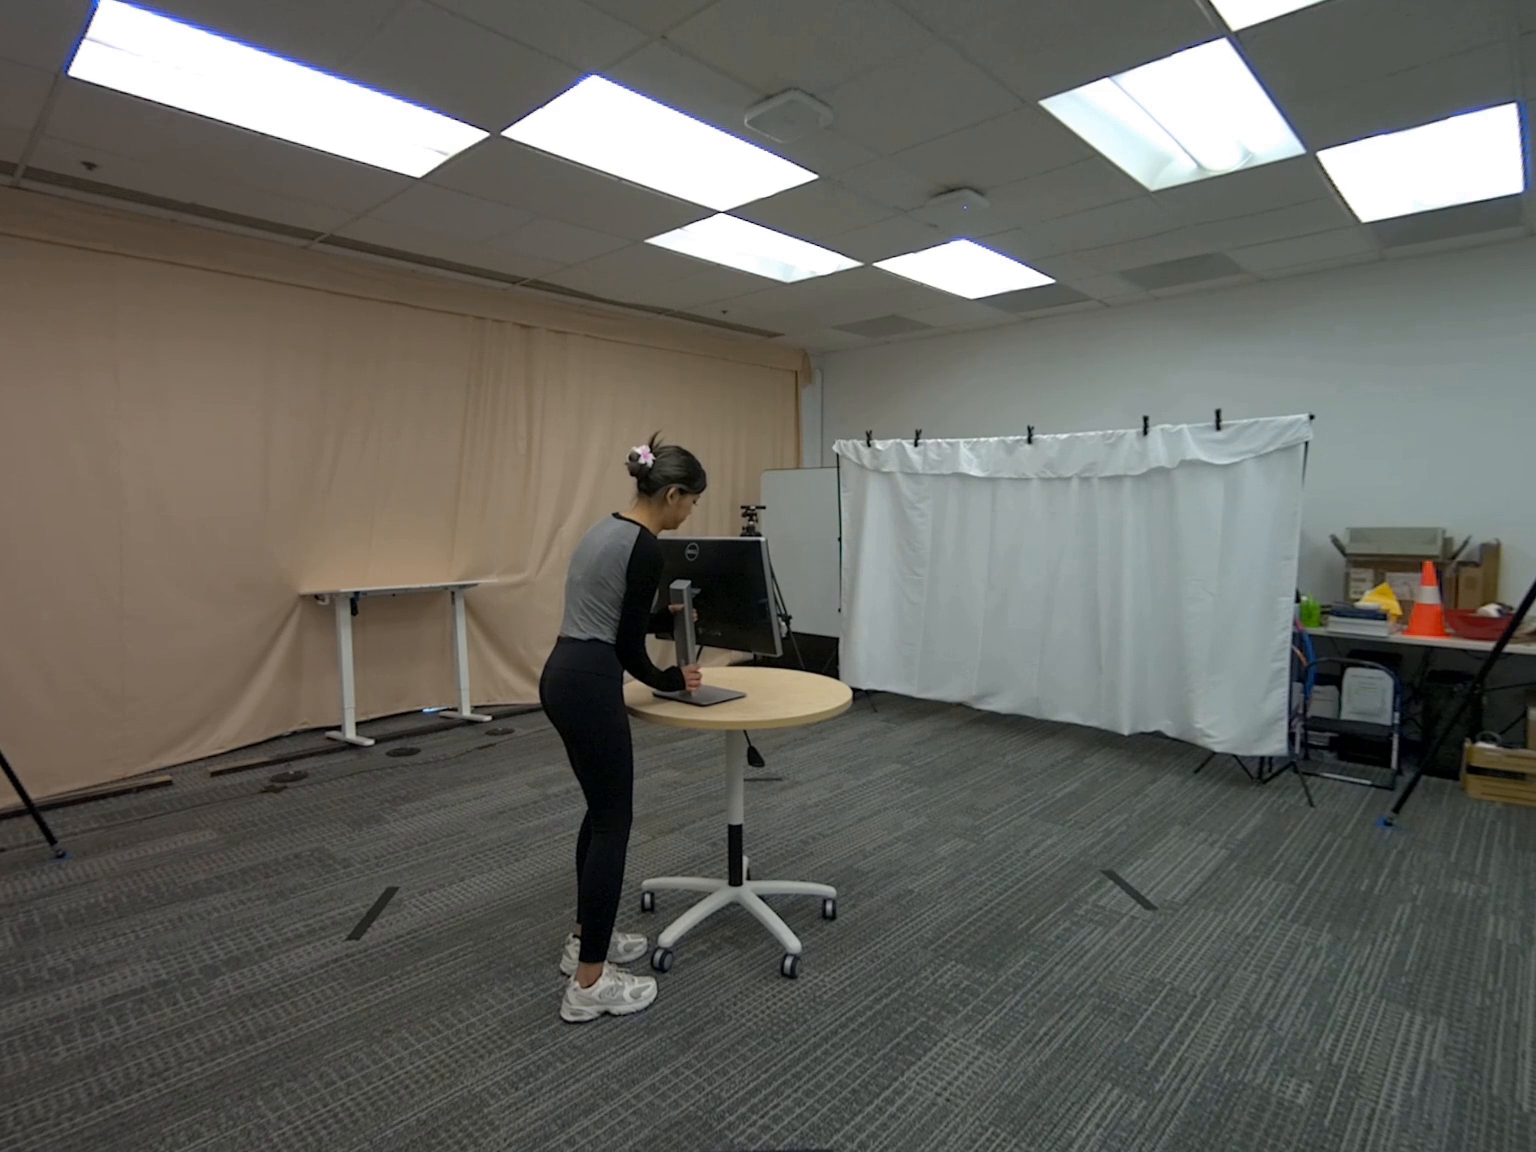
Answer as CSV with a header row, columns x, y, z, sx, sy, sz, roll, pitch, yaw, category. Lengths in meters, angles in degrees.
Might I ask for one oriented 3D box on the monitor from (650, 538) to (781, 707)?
x,y,z,sx,sy,sz,roll,pitch,yaw,category
-0.220,0.138,2.658,0.557,0.522,0.181,3,3,41,monitor
